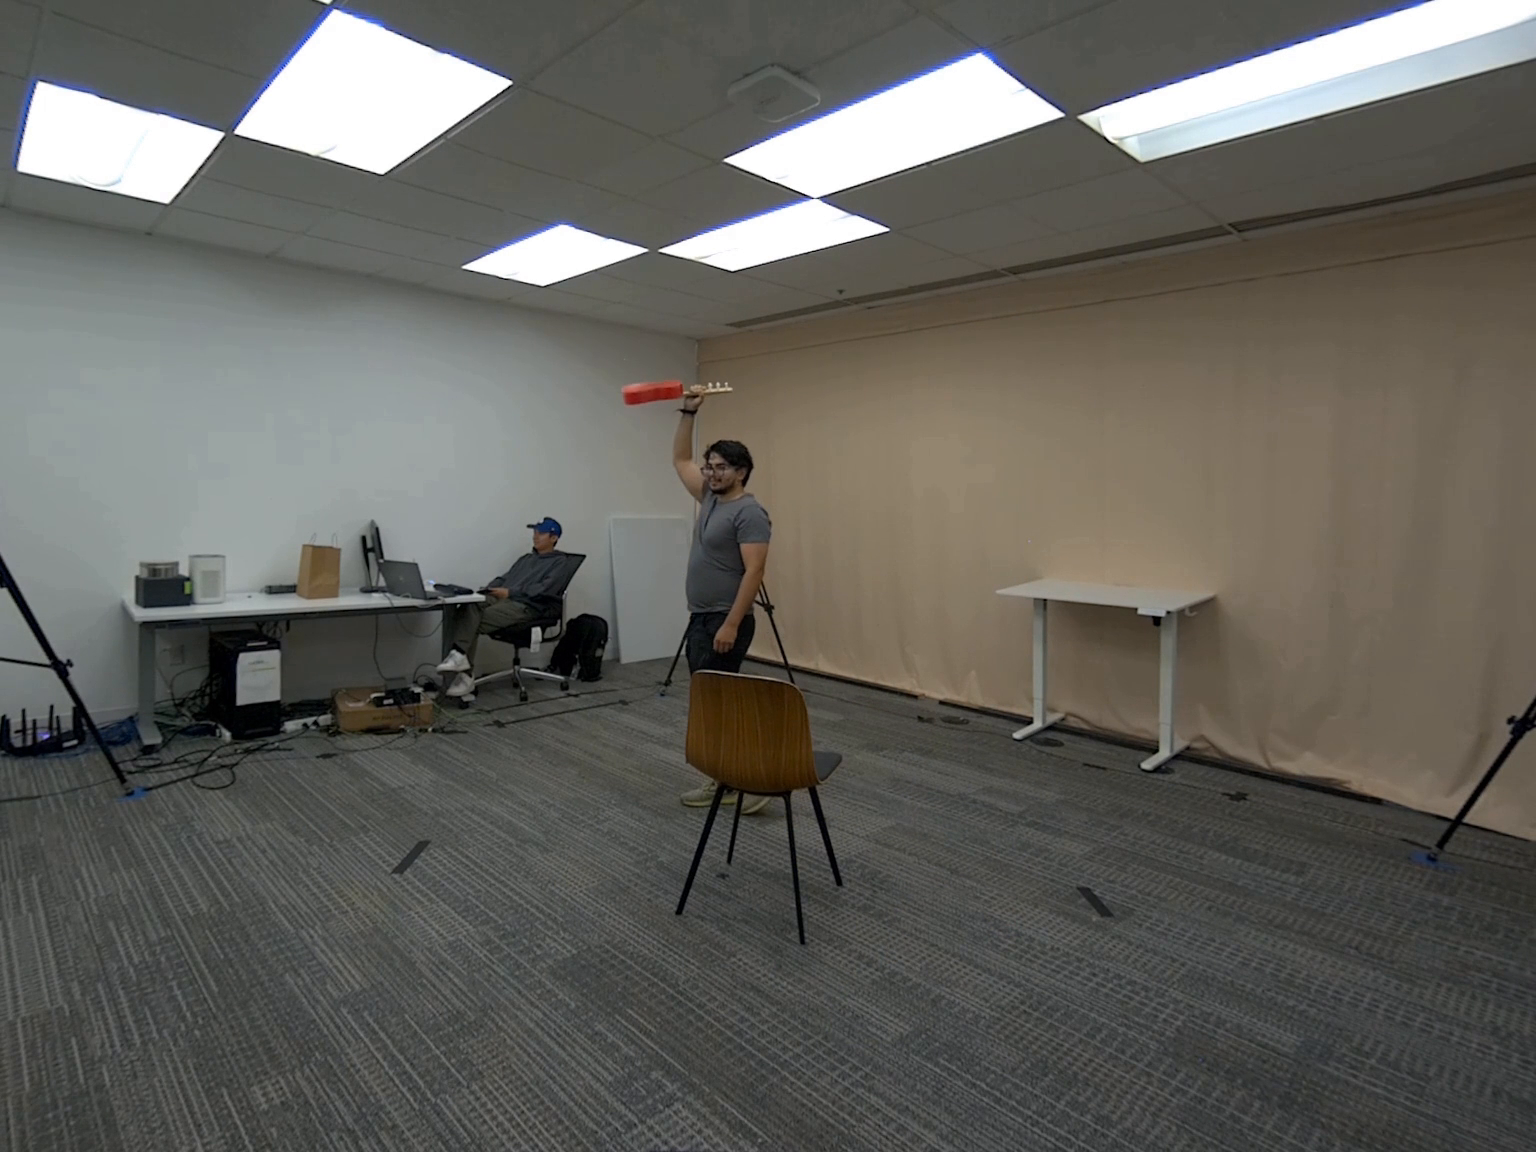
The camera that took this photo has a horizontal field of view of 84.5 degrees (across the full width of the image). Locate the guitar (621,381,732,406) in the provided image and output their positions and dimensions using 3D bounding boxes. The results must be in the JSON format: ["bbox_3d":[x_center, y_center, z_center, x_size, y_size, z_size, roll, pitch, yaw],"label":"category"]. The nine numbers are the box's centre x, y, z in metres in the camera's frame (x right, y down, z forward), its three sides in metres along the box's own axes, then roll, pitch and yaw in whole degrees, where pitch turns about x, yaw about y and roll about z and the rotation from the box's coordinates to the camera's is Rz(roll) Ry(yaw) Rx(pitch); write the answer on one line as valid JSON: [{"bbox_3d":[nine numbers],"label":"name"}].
[{"bbox_3d":[-0.430,-0.858,3.855,0.494,0.069,0.197,-10,23,-10],"label":"guitar"}]
